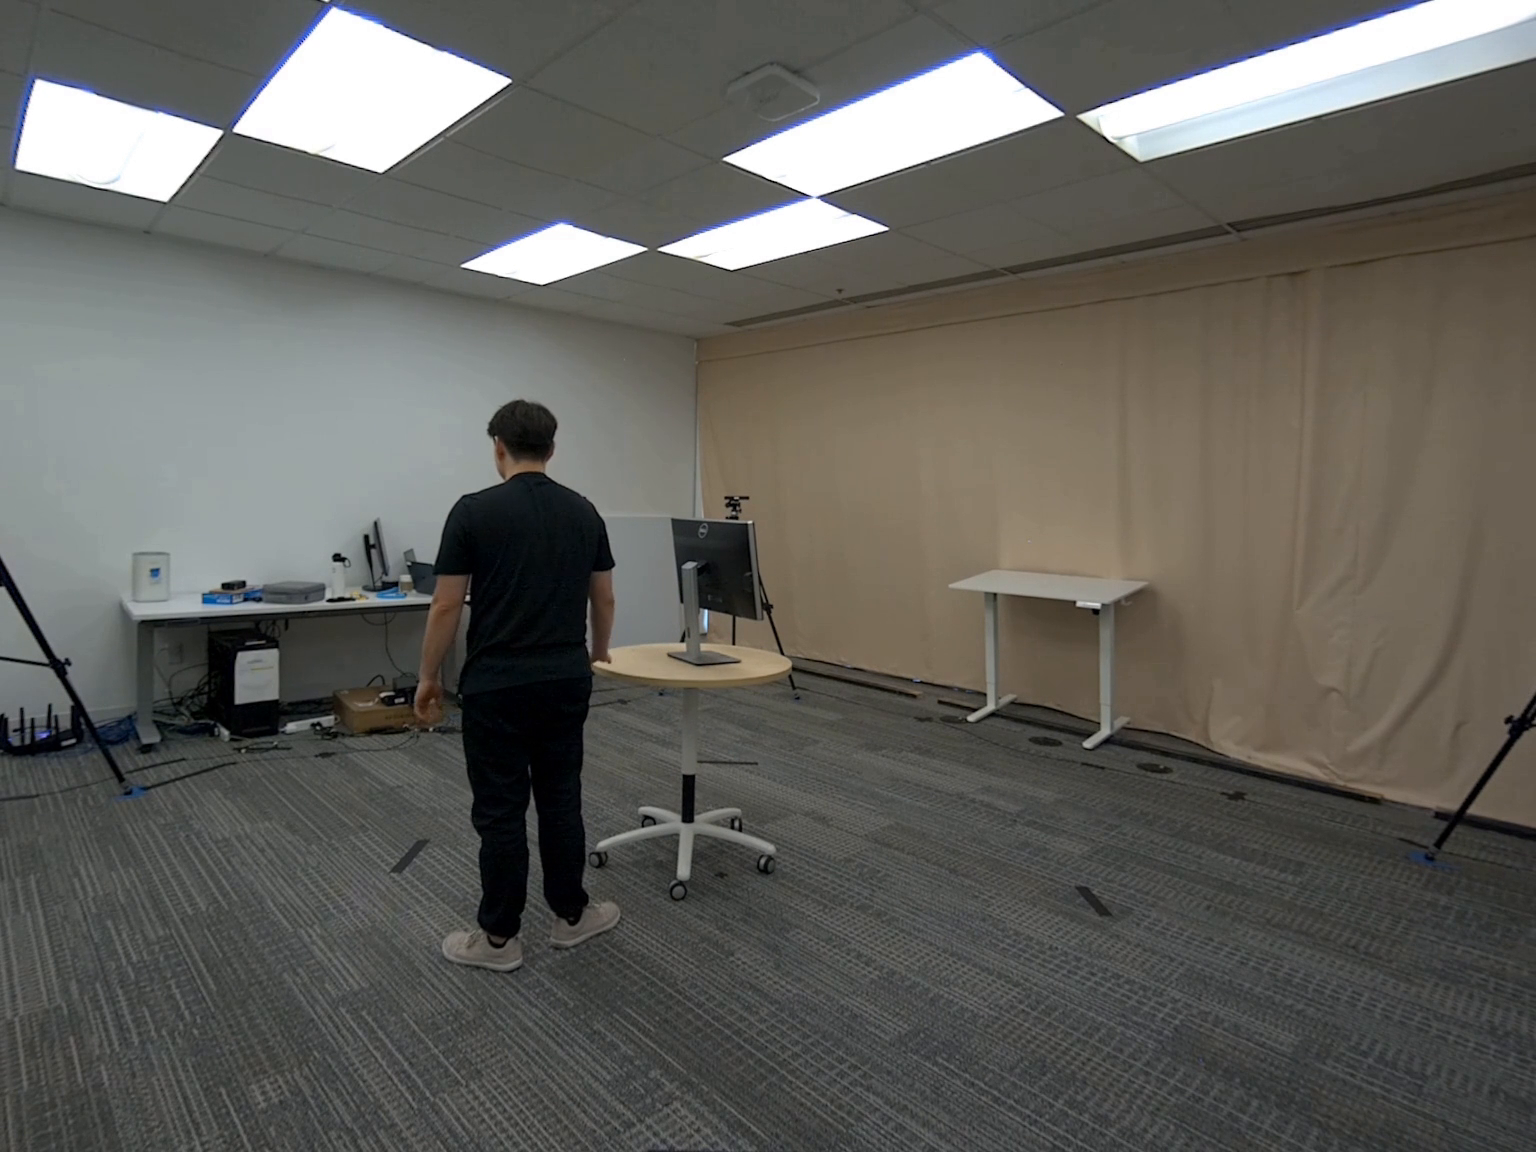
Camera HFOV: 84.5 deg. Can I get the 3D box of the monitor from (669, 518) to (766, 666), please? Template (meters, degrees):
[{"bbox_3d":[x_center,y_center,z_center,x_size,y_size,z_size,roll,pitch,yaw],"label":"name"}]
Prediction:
[{"bbox_3d":[-0.247,0.058,3.220,0.183,0.522,0.552,1,3,-37],"label":"monitor"}]
